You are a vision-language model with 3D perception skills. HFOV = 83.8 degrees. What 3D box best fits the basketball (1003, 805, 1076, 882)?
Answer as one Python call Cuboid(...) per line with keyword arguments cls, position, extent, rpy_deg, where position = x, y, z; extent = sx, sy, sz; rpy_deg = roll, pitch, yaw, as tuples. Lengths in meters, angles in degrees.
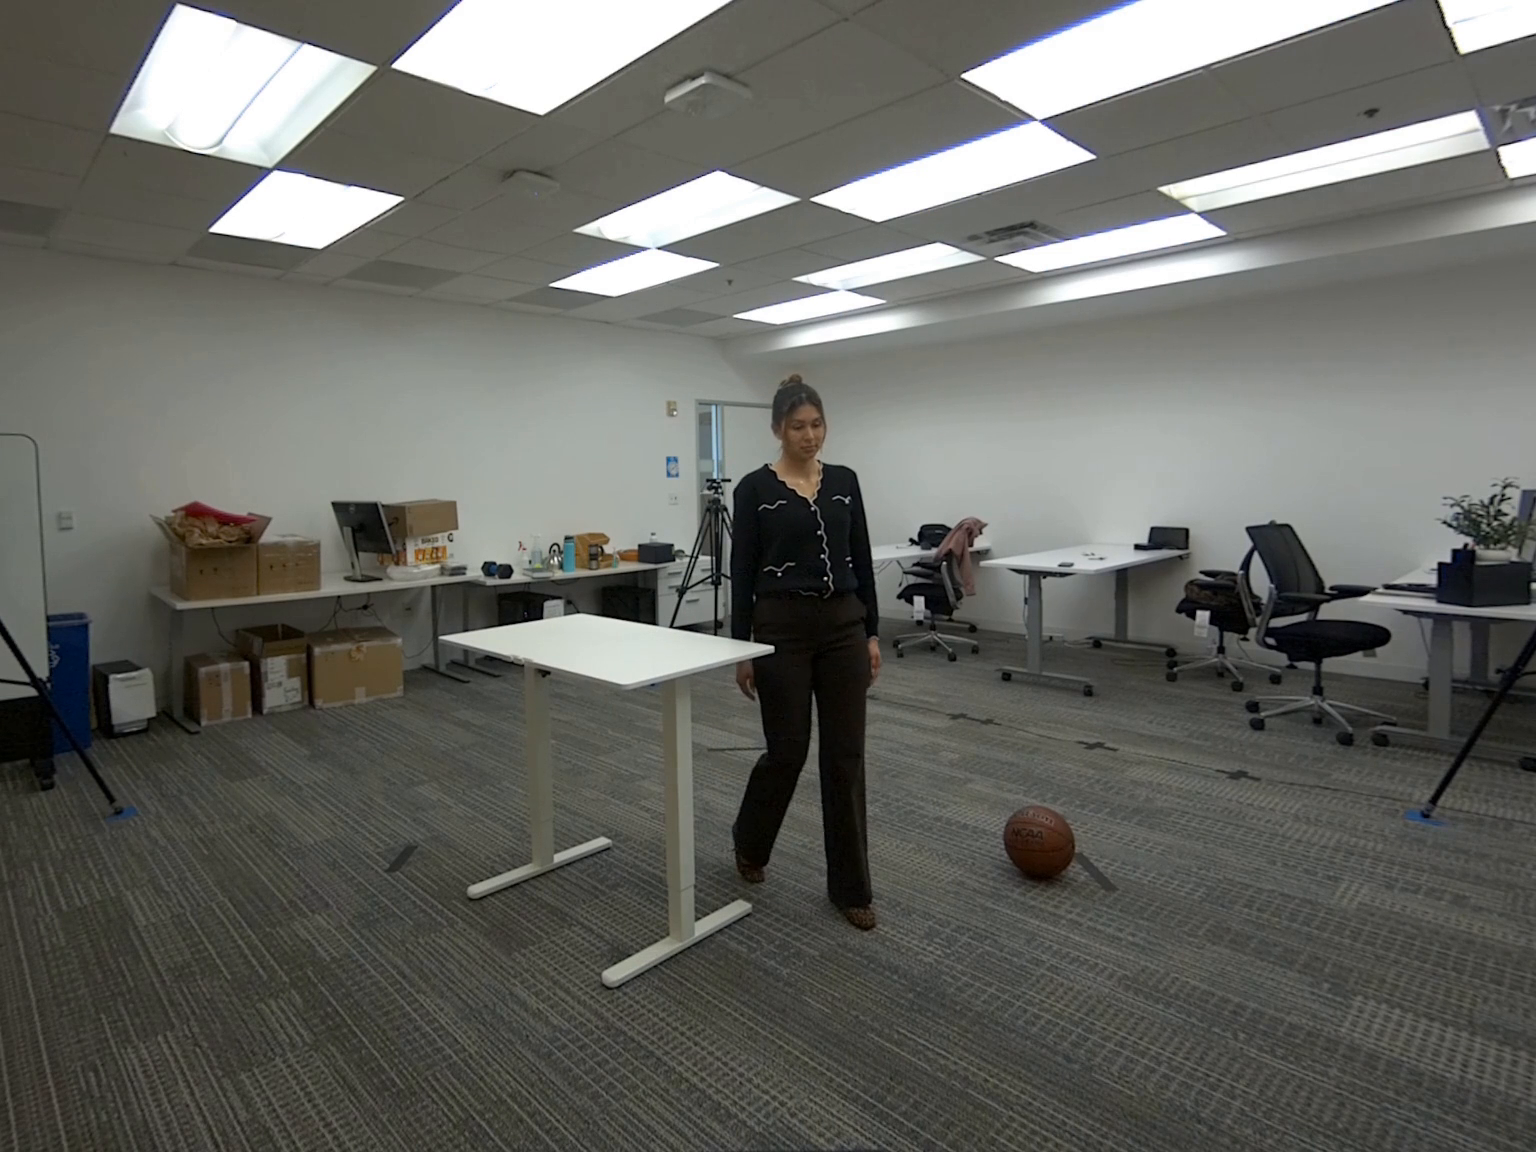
Cuboid(cls="basketball", position=(0.953, 0.927, 2.973), extent=(0.236, 0.235, 0.237), rpy_deg=(-1, 5, -2))
